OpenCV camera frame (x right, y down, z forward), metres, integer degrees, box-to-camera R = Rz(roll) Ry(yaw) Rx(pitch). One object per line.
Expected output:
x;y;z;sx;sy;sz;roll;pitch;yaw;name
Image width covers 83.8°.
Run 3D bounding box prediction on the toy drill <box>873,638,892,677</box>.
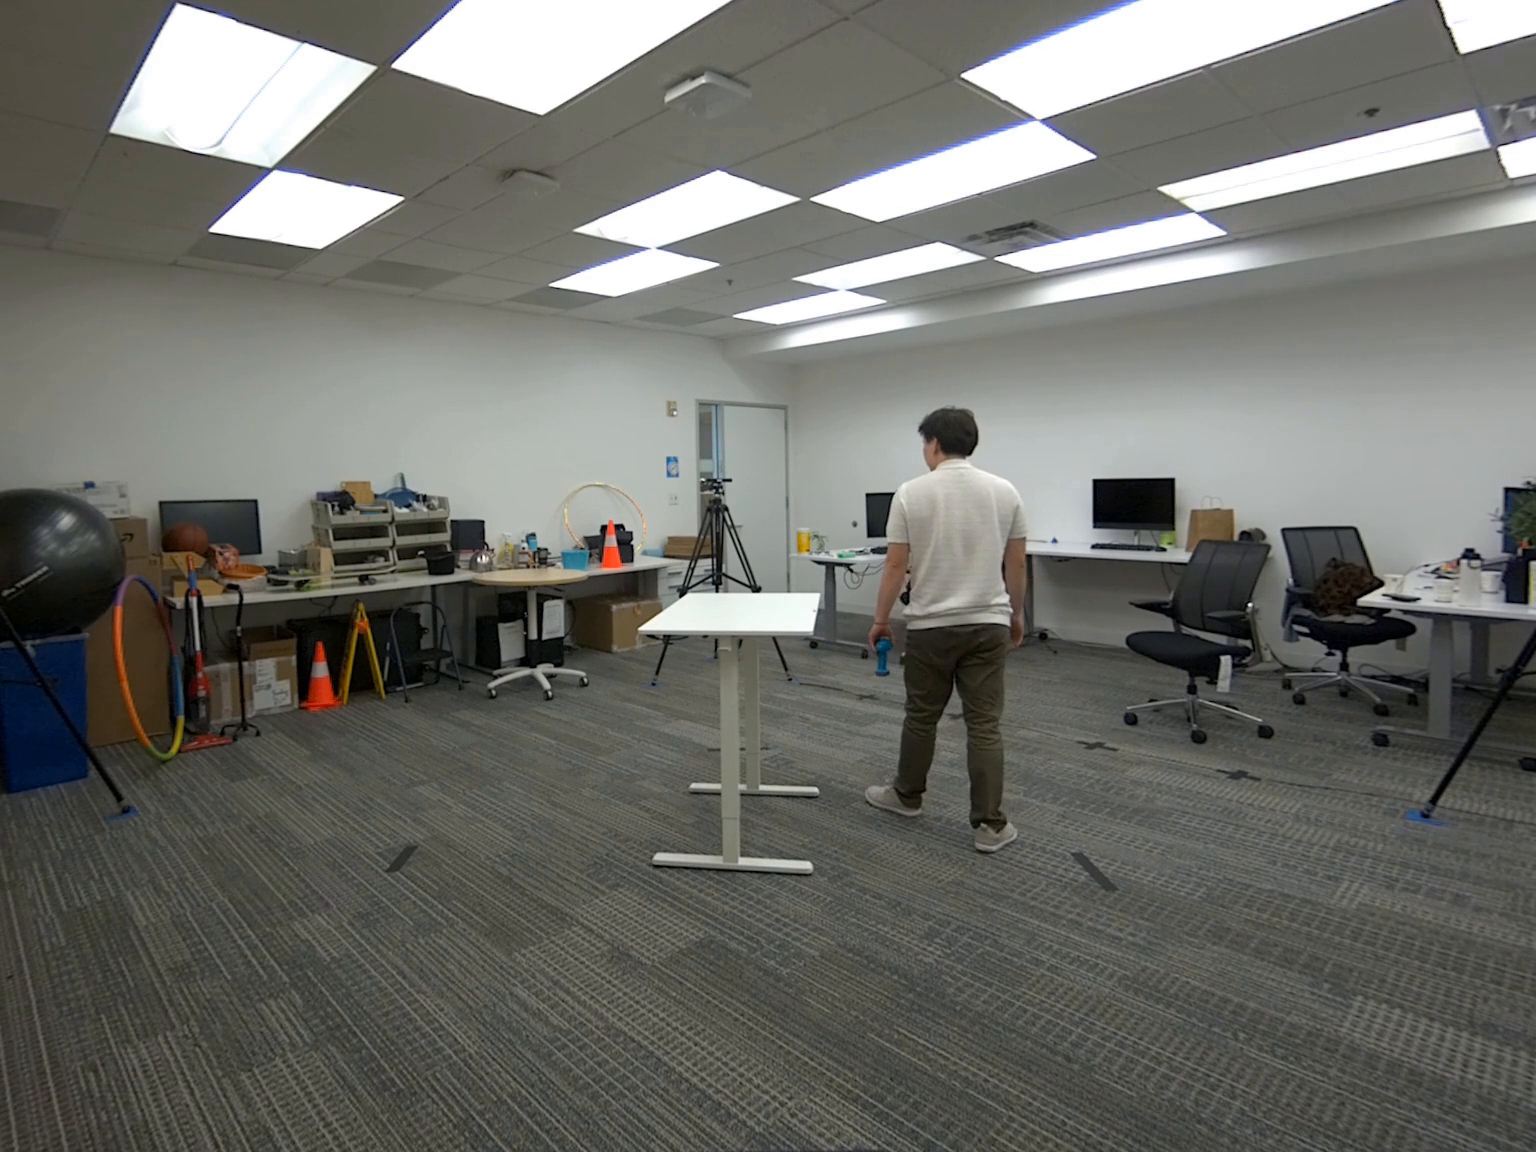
0.470;0.301;3.447;0.062;0.145;0.167;3;9;25;toy drill
